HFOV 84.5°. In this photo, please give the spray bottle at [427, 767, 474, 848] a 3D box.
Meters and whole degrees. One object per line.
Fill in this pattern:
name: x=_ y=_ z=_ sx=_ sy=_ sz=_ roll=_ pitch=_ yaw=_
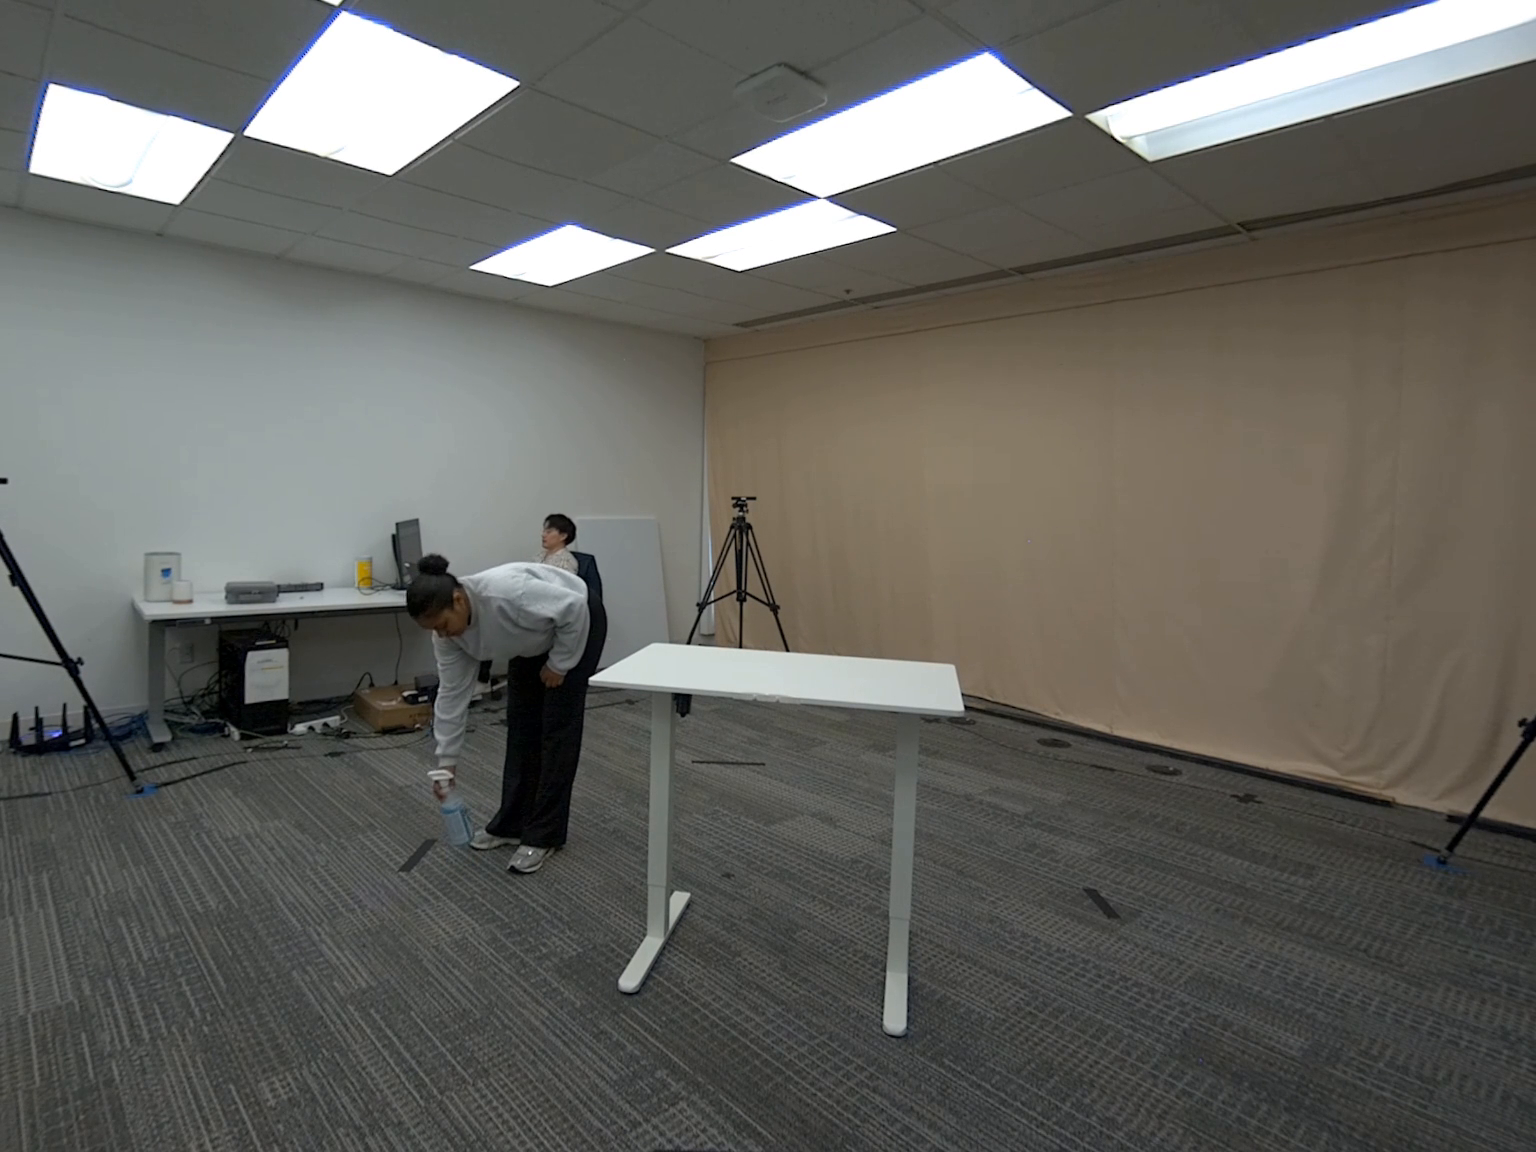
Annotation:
spray bottle: x=-1.174 y=0.841 z=3.091 sx=0.092 sy=0.293 sz=0.086 roll=-1 pitch=17 yaw=29
